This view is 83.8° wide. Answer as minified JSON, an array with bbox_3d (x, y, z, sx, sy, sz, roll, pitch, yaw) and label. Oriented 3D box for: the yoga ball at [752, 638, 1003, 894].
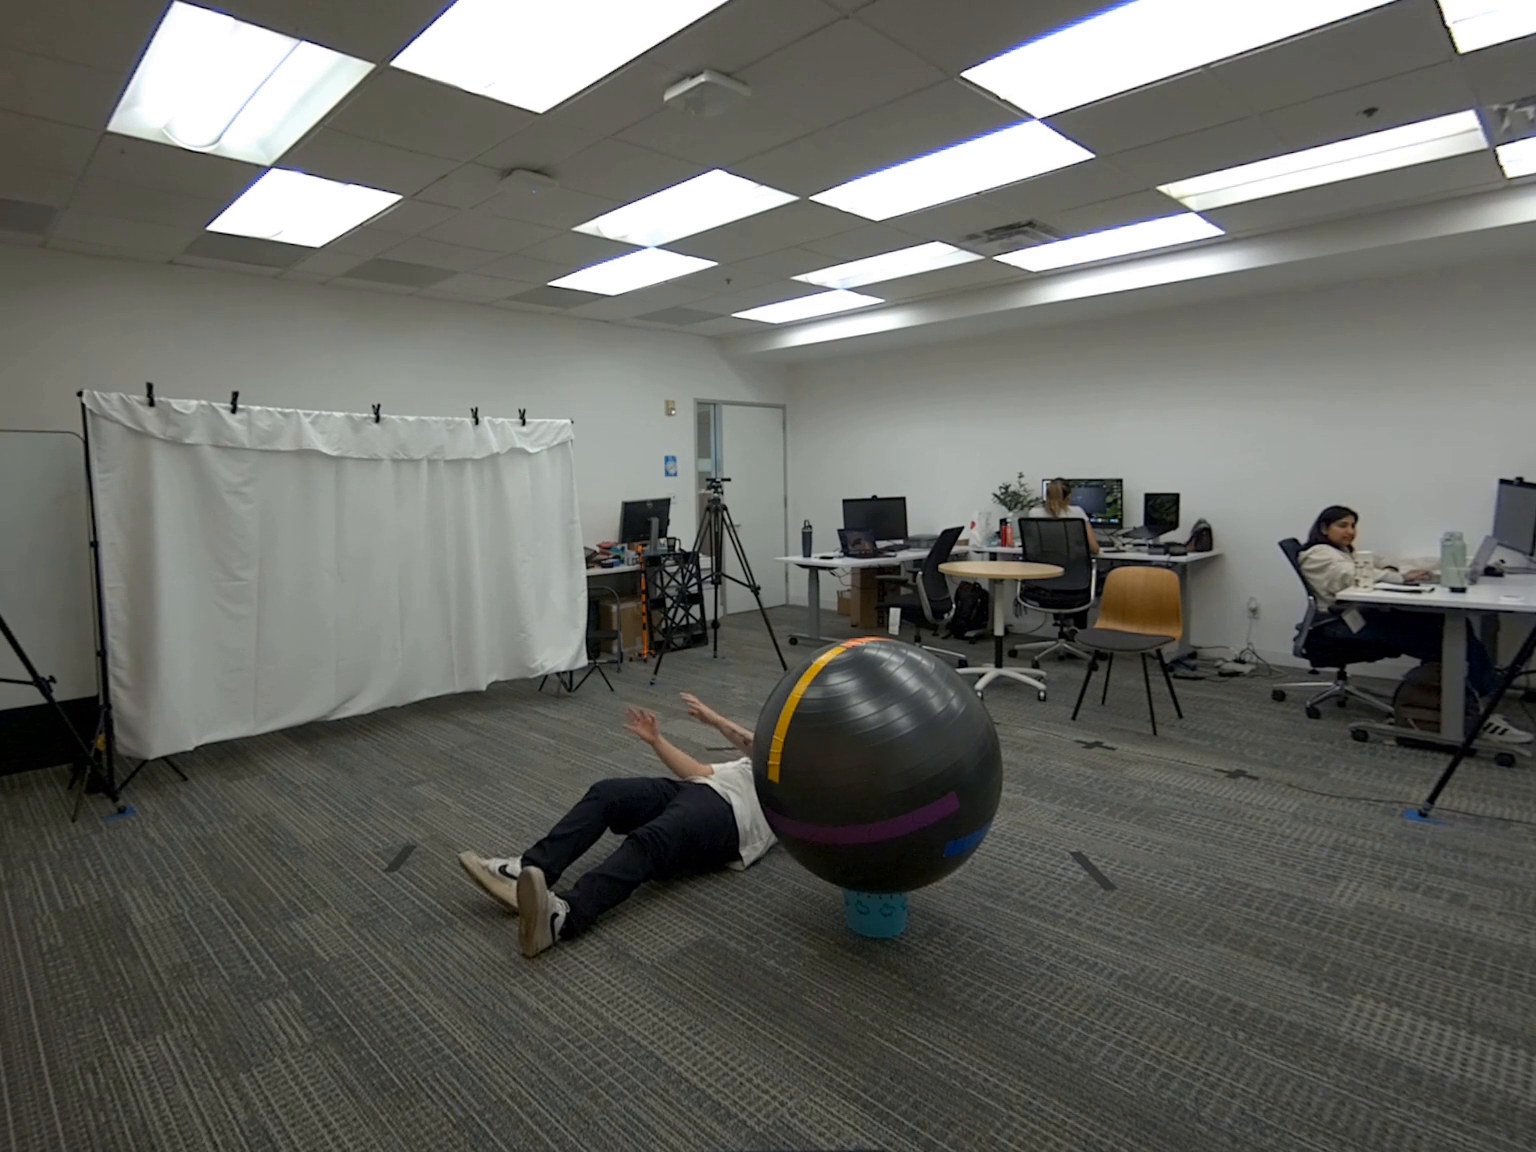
[{"bbox_3d":[0.336,0.579,2.627,0.757,0.755,0.762,-1,5,-2],"label":"yoga ball"}]
